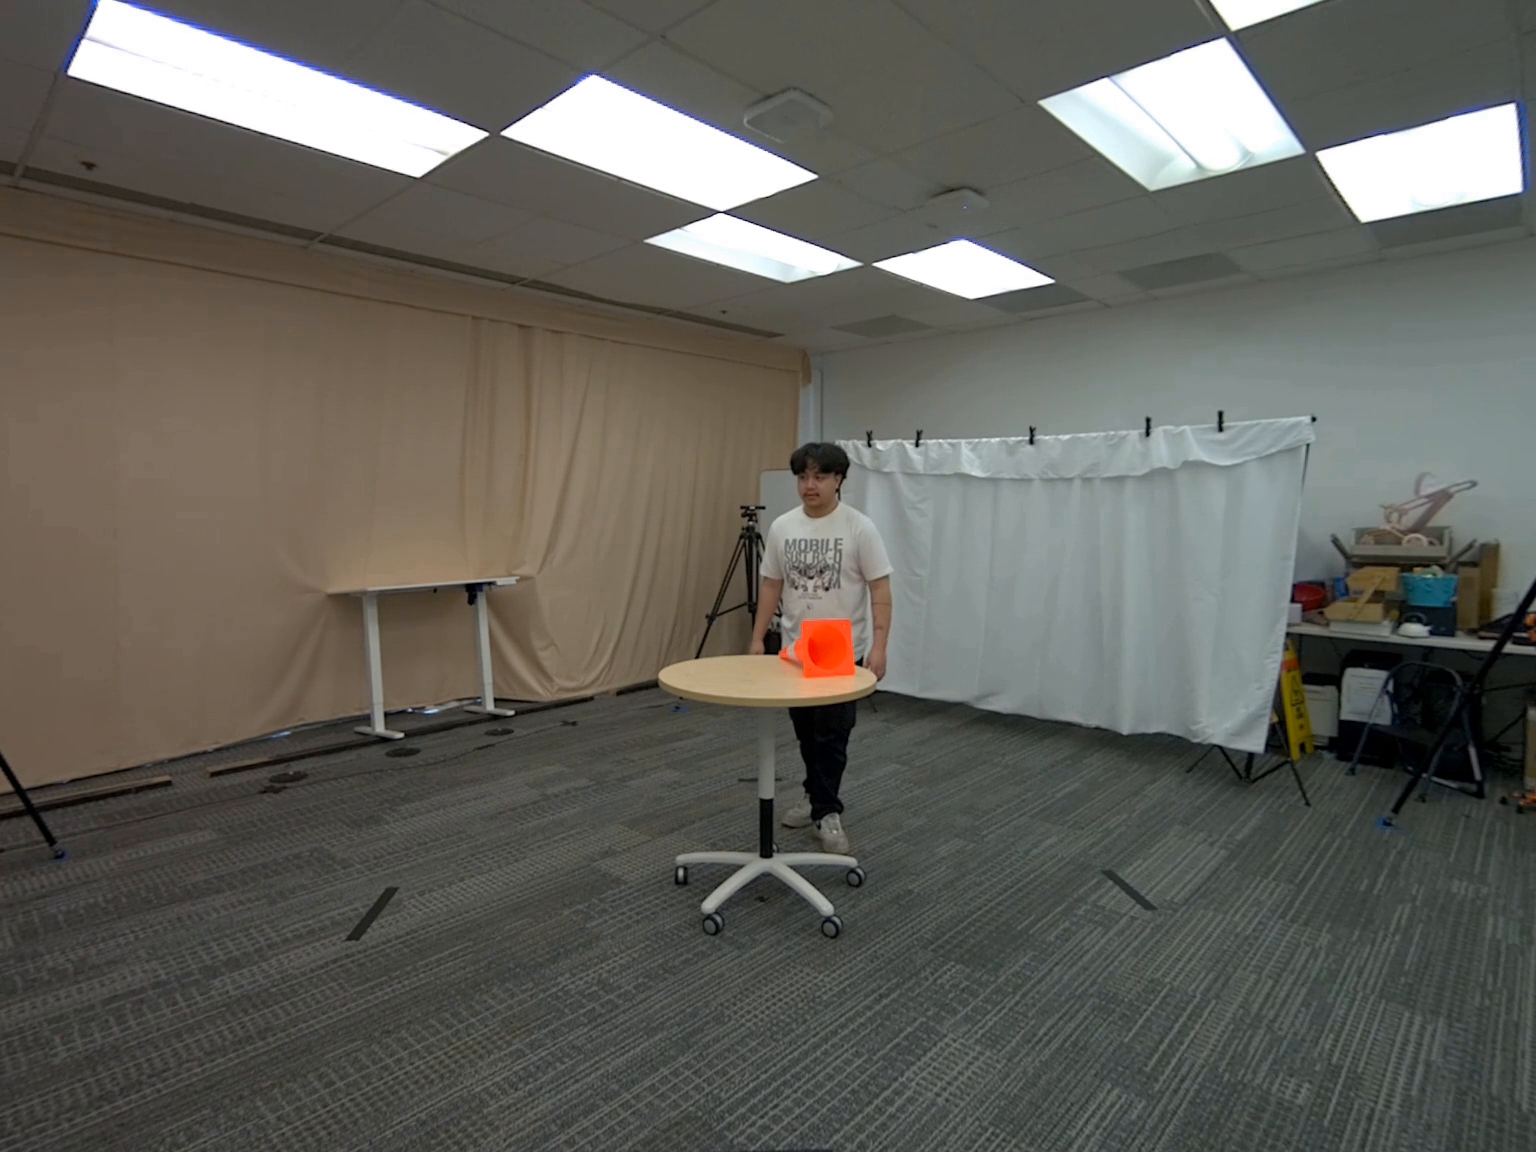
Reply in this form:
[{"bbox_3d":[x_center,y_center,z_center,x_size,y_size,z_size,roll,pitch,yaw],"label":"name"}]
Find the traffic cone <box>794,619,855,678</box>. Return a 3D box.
[{"bbox_3d":[0.131,0.280,3.131,0.201,0.204,0.390,-7,-6,-24],"label":"traffic cone"}]
